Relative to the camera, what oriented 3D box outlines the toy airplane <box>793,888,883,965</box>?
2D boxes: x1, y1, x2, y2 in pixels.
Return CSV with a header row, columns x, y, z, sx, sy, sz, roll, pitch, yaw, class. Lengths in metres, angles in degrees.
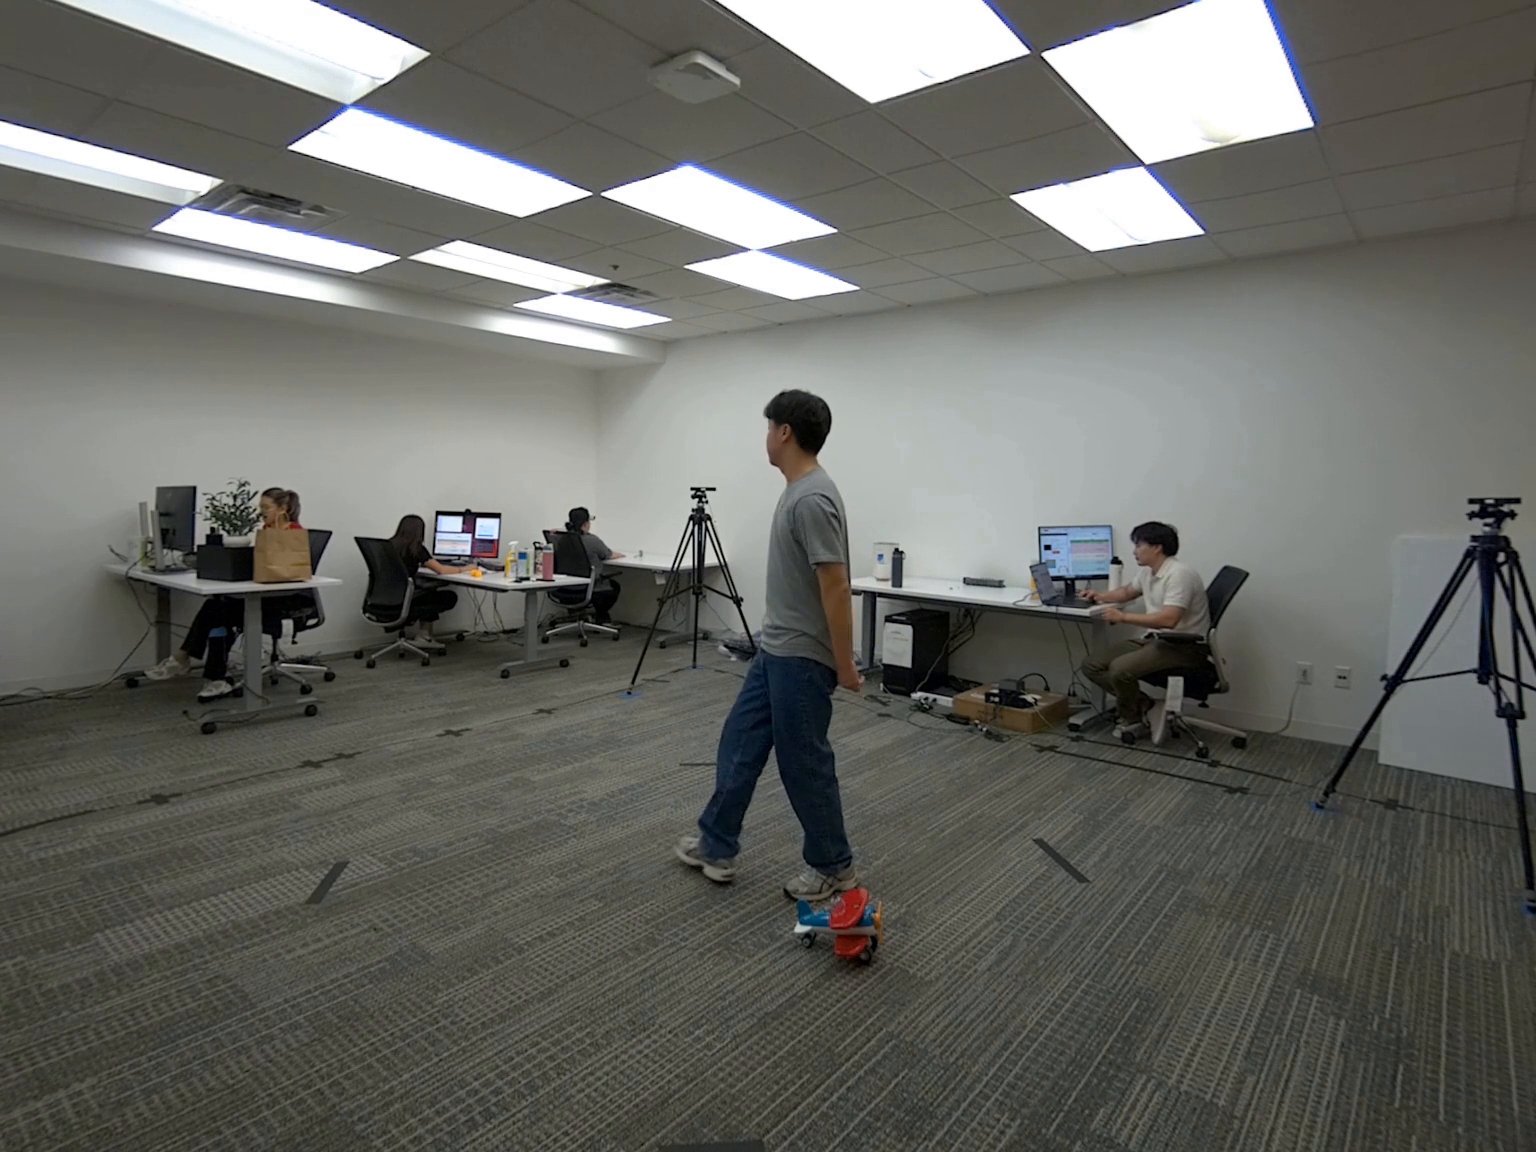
x,y,z,sx,sy,sz,roll,pitch,yaw,class
0.206,1.055,2.556,0.257,0.156,0.254,2,5,-8,toy airplane
